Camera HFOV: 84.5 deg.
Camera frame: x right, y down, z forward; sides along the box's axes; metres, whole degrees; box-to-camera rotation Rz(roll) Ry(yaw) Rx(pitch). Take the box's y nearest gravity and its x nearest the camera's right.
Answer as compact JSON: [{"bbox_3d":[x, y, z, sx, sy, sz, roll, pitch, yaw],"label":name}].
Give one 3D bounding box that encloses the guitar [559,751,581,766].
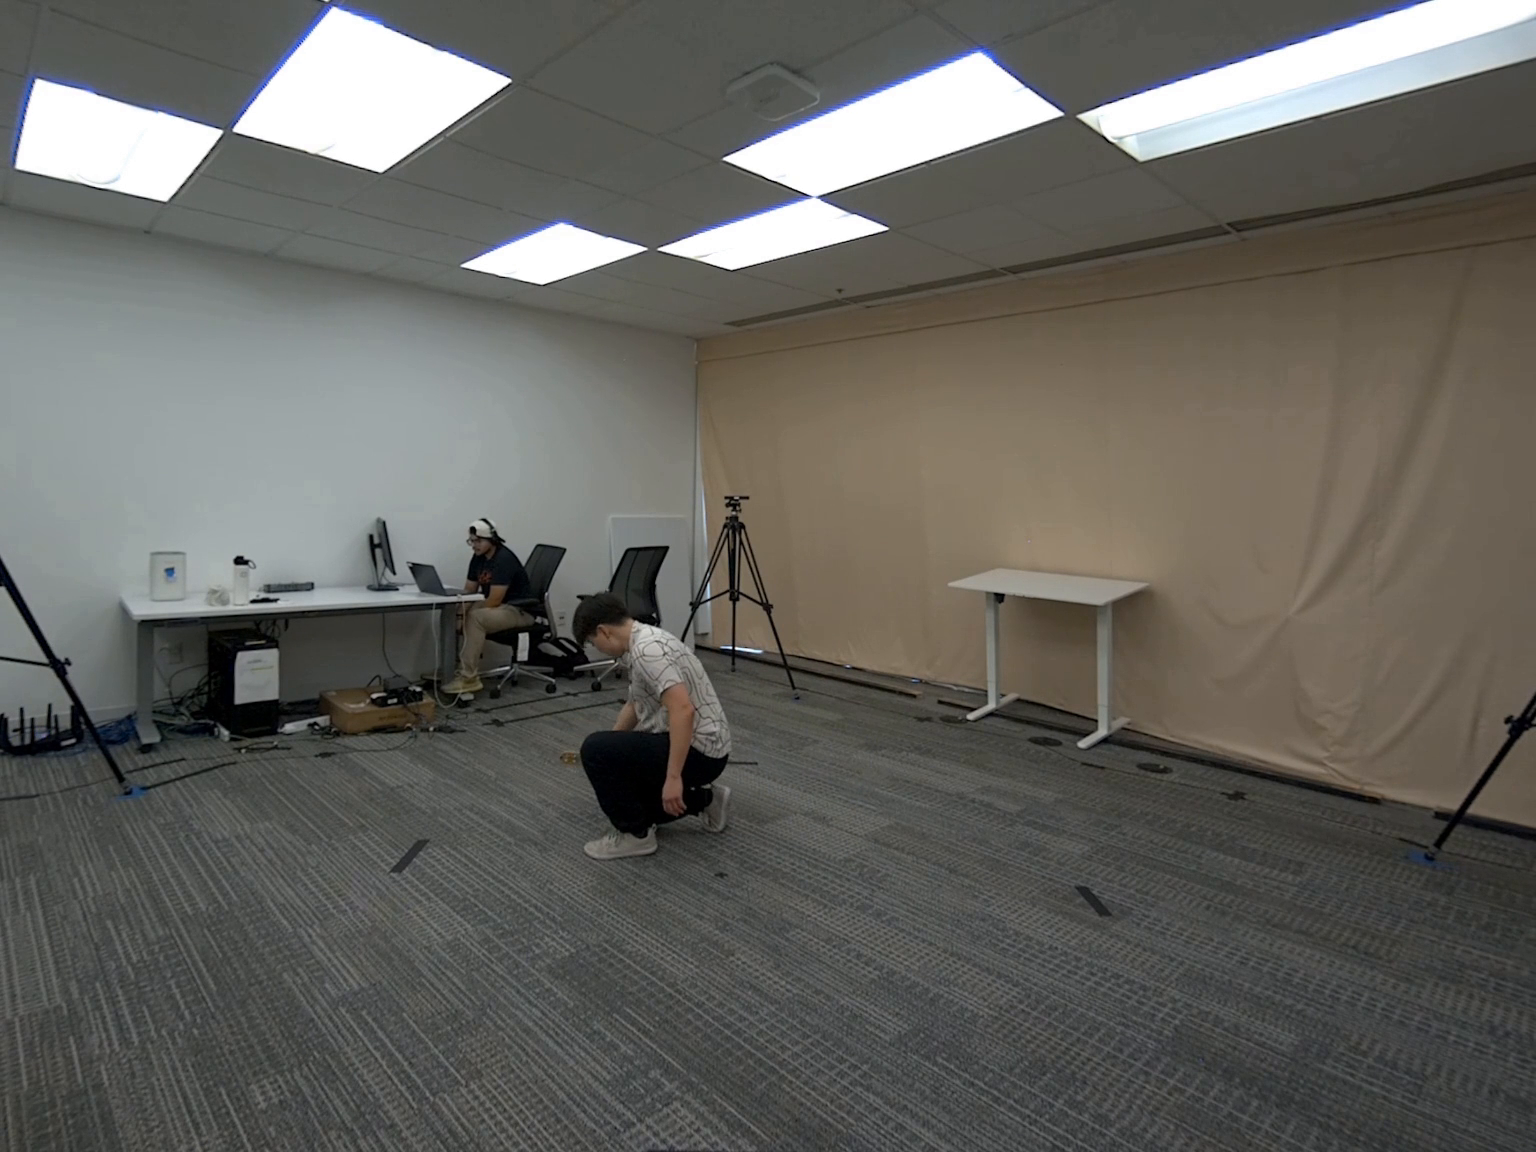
[{"bbox_3d":[-0.680,0.811,3.766,0.496,0.193,0.071,16,0,-4],"label":"guitar"}]
